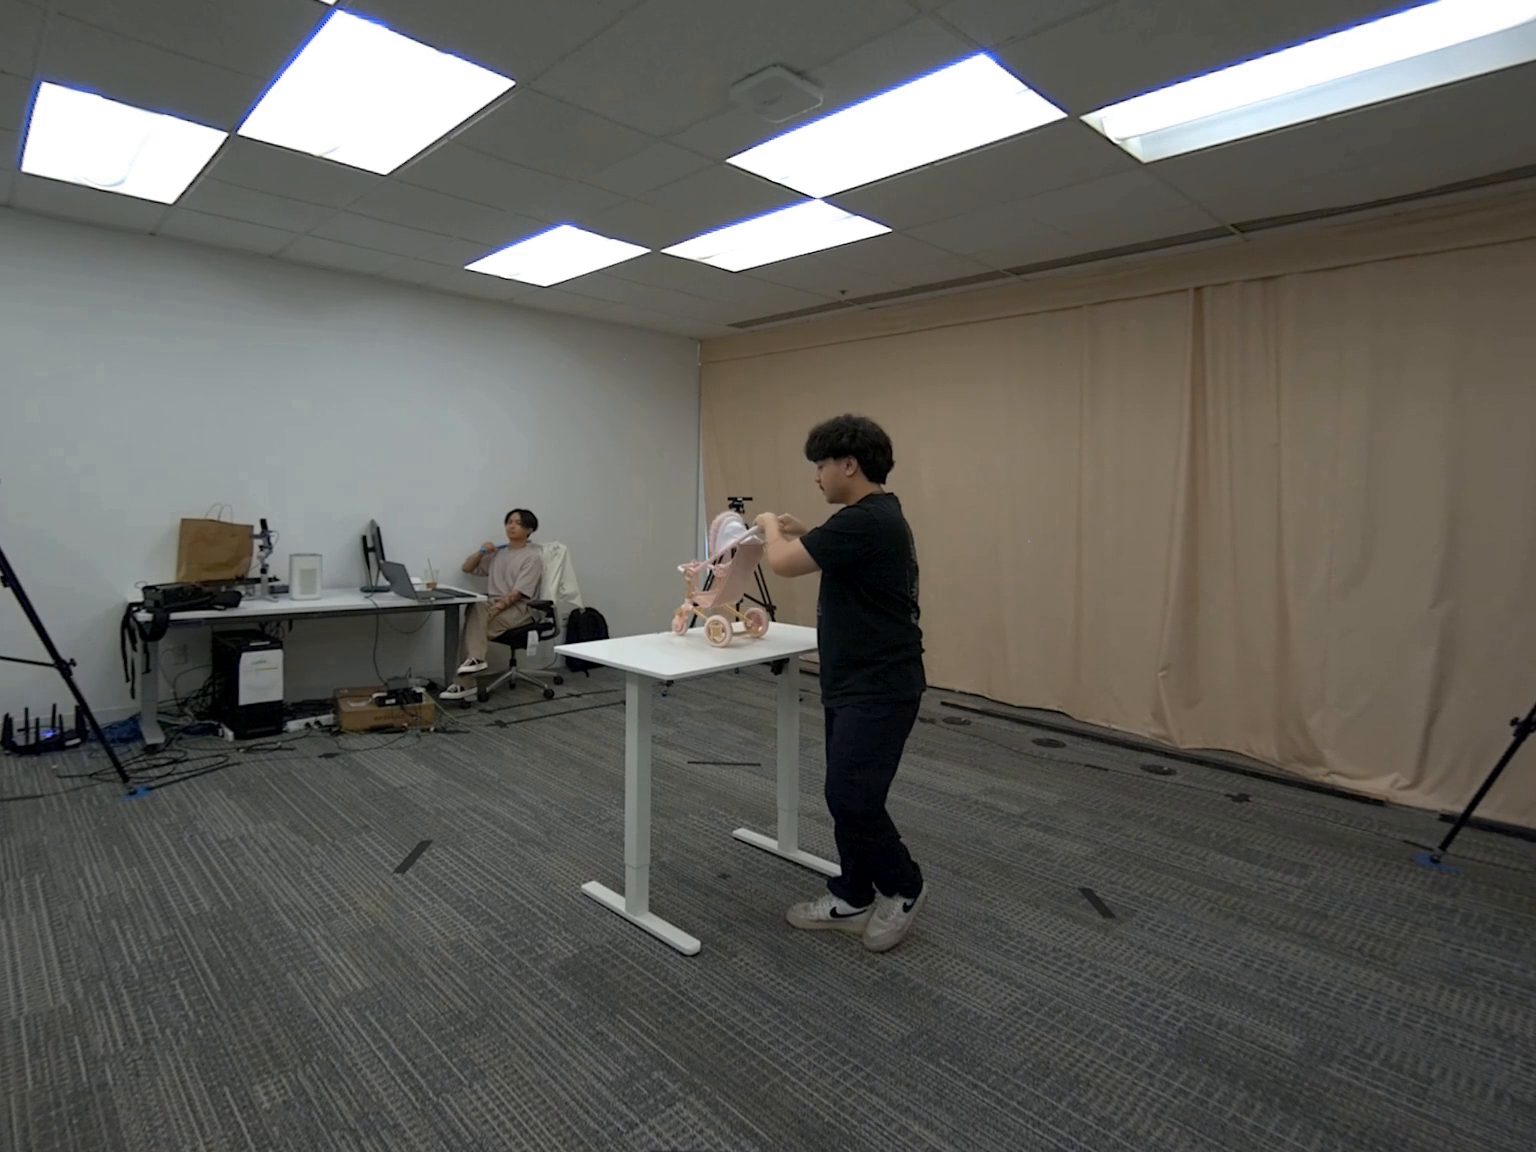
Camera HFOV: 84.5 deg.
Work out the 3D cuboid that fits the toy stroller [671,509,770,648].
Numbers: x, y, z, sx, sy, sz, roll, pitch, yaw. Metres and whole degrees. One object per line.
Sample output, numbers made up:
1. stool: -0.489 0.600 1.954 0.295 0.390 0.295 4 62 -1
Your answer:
1. toy stroller: -0.163 0.008 3.003 0.351 0.531 0.275 22 14 34
